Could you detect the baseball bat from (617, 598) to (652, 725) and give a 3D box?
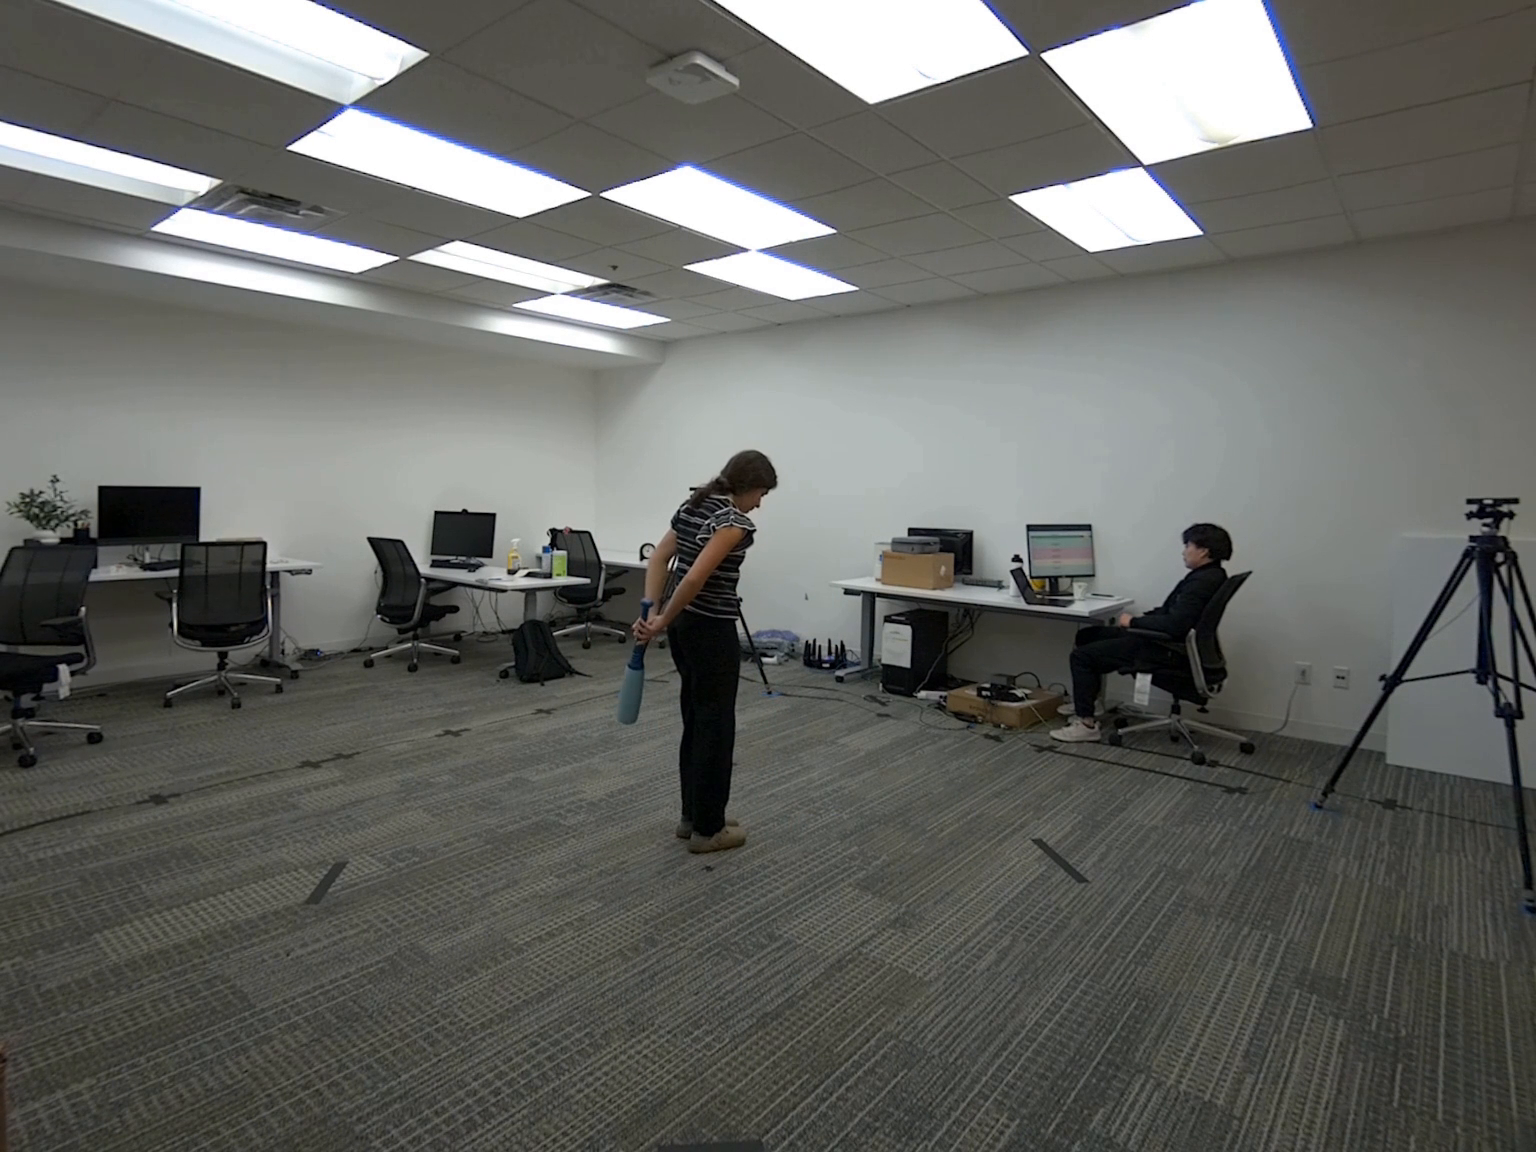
[{"bbox_3d":[-0.522,0.336,3.287,0.088,0.534,0.091,9,23,-6],"label":"baseball bat"}]
